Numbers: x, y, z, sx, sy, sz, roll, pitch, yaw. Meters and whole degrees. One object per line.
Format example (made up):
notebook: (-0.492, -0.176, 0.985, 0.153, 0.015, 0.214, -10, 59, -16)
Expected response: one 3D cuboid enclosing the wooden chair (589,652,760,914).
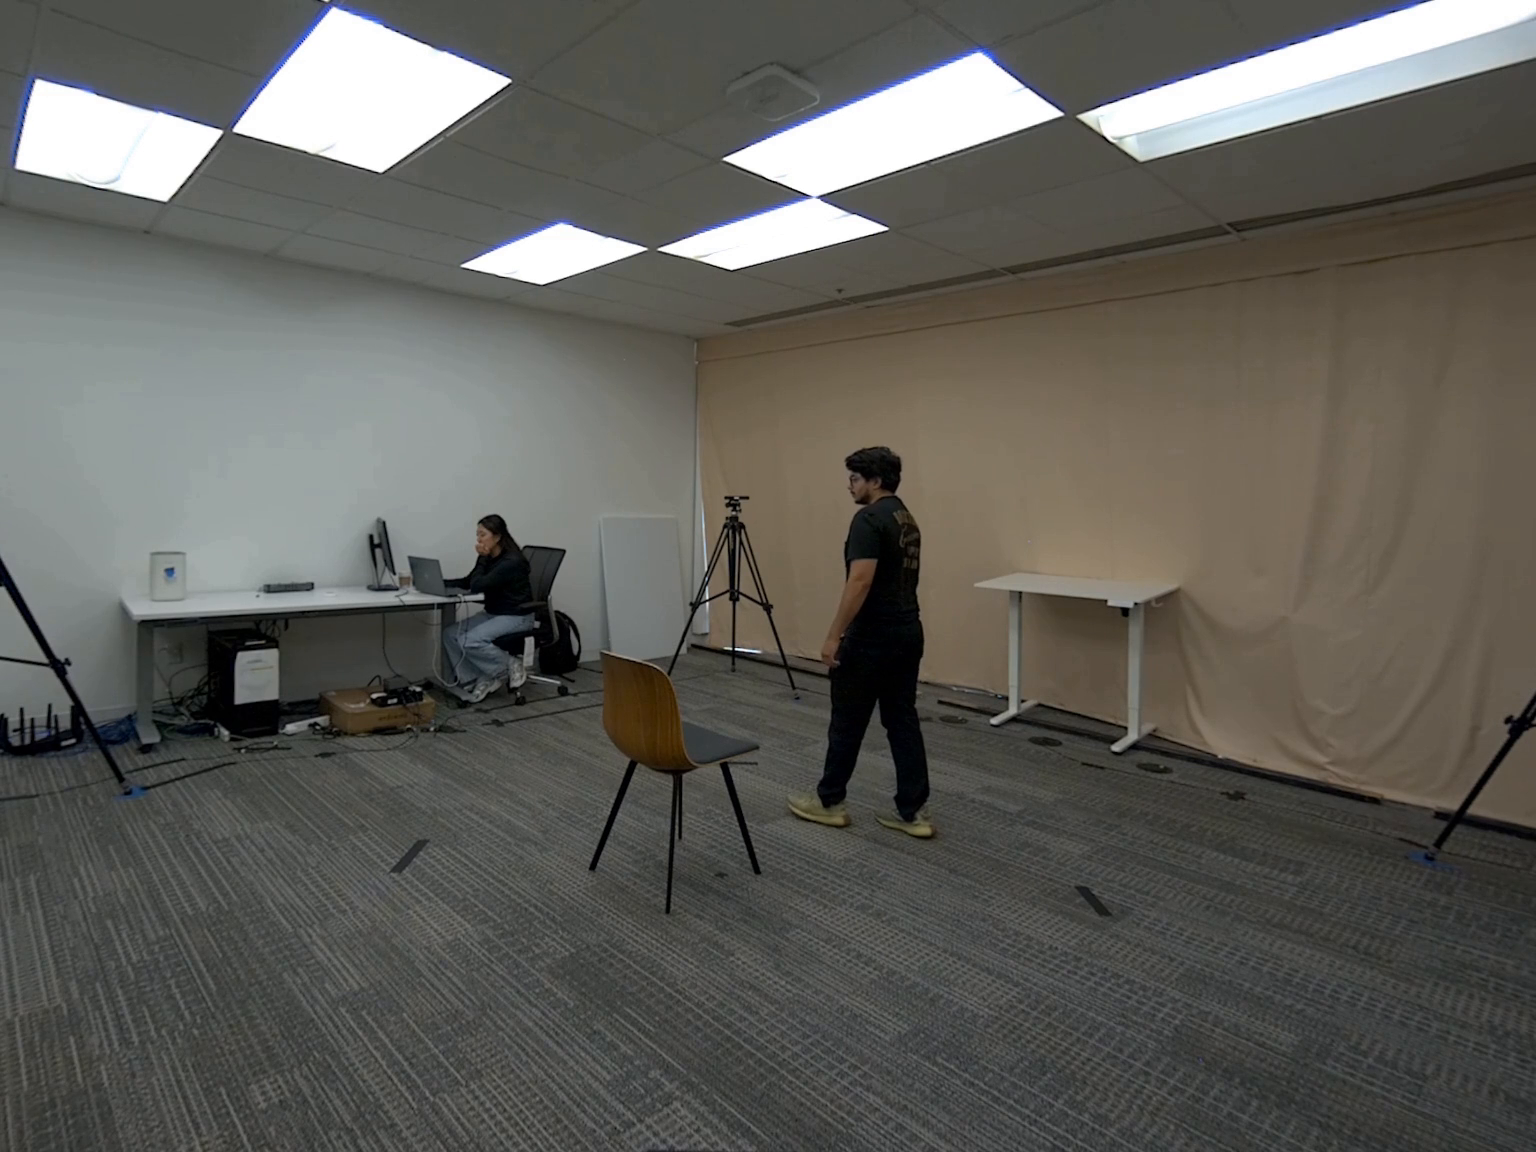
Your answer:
wooden chair: (-0.333, 0.673, 3.092, 0.490, 0.873, 0.512, 4, 9, 44)
